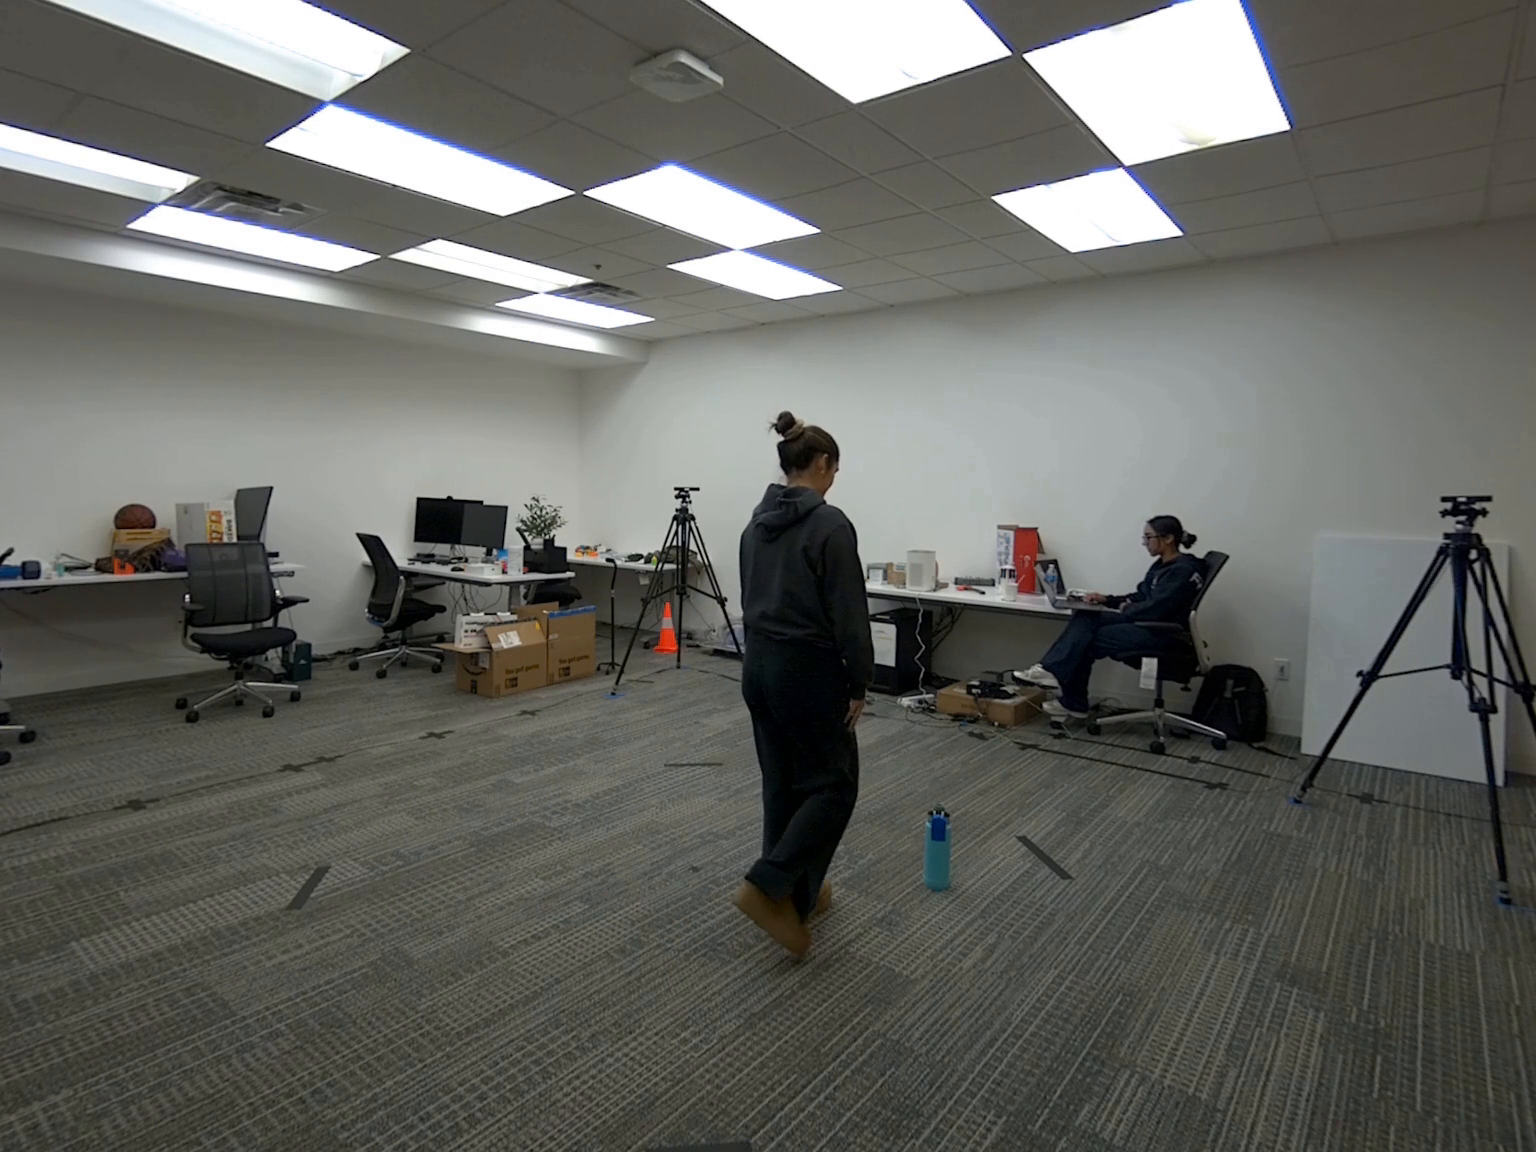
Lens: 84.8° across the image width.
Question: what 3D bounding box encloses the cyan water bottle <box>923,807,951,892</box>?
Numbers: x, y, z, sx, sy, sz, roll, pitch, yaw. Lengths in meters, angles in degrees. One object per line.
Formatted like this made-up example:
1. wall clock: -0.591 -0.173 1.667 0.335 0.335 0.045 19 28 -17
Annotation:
1. cyan water bottle: 0.609 0.953 3.016 0.092 0.282 0.093 1 5 -2
